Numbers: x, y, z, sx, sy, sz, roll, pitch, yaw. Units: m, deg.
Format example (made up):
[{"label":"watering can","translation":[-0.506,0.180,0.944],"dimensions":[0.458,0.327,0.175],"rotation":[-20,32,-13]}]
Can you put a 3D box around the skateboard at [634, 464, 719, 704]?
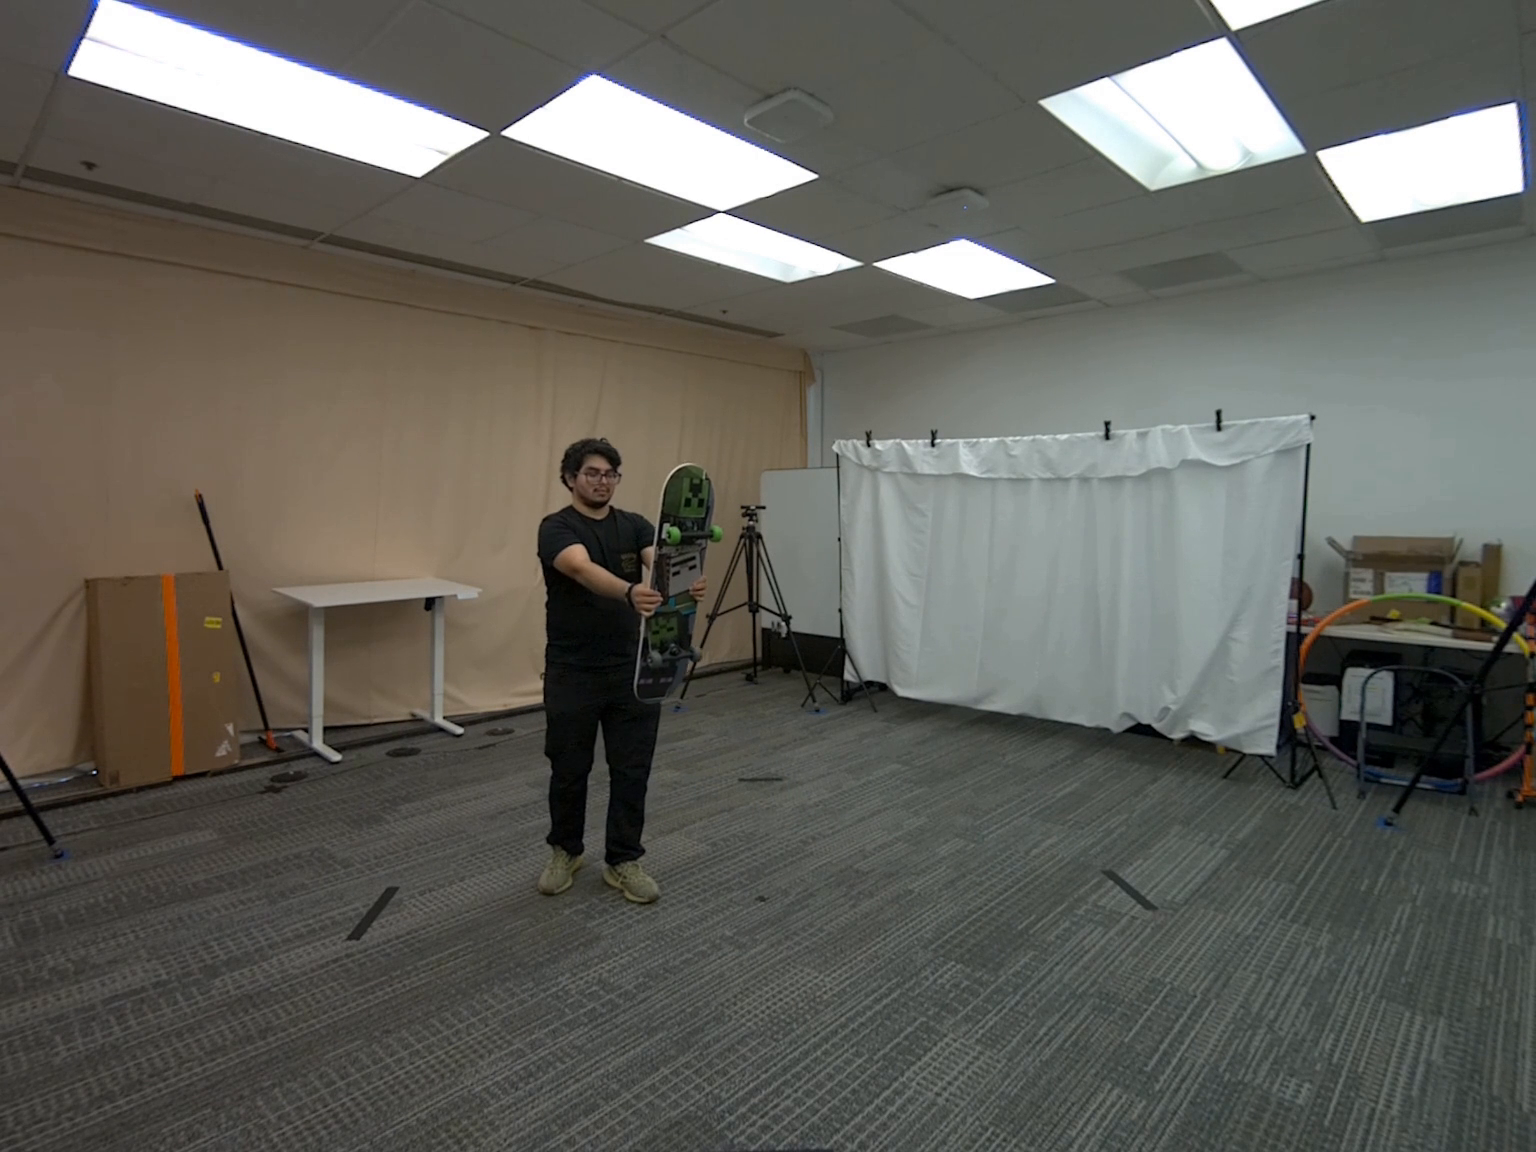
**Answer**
[{"label":"skateboard","translation":[-0.277,0.056,2.575],"dimensions":[0.187,0.780,0.114],"rotation":[-2,20,-39]}]
